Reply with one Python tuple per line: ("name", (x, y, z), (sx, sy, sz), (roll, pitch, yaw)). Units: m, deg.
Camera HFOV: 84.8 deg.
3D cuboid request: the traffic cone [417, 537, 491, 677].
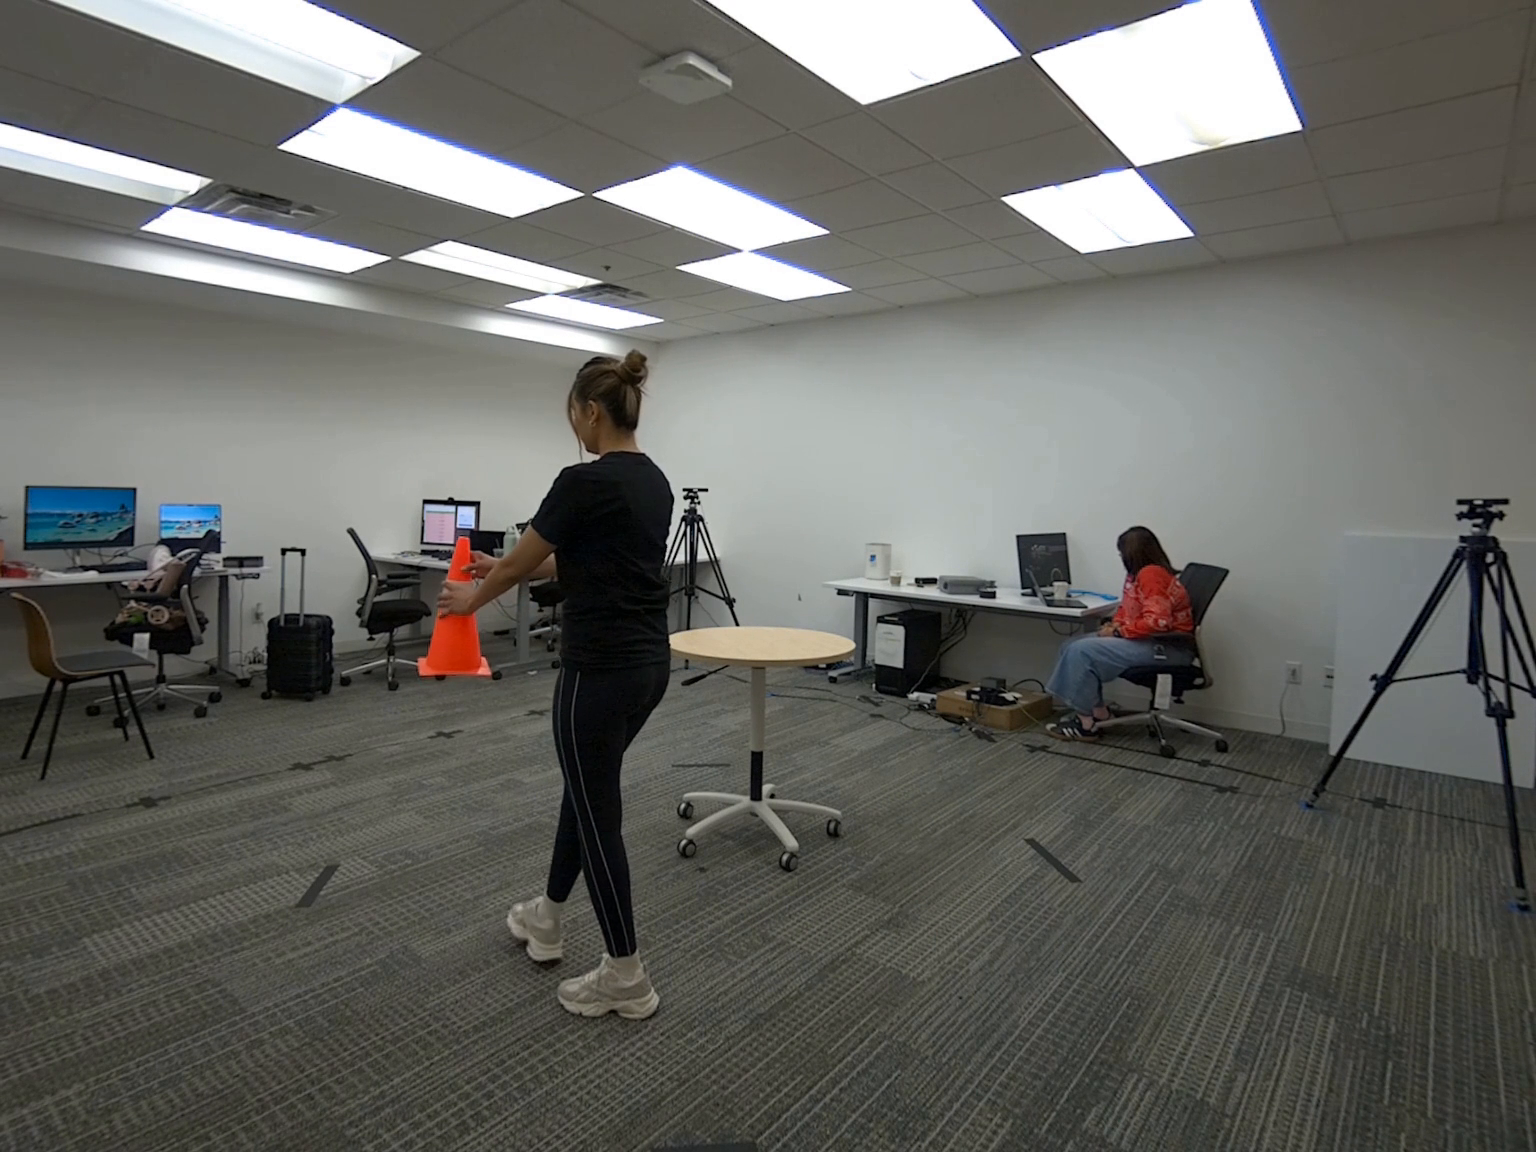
("traffic cone", (-0.918, 0.077, 2.481), (0.197, 0.383, 0.212), (5, 2, -37))
